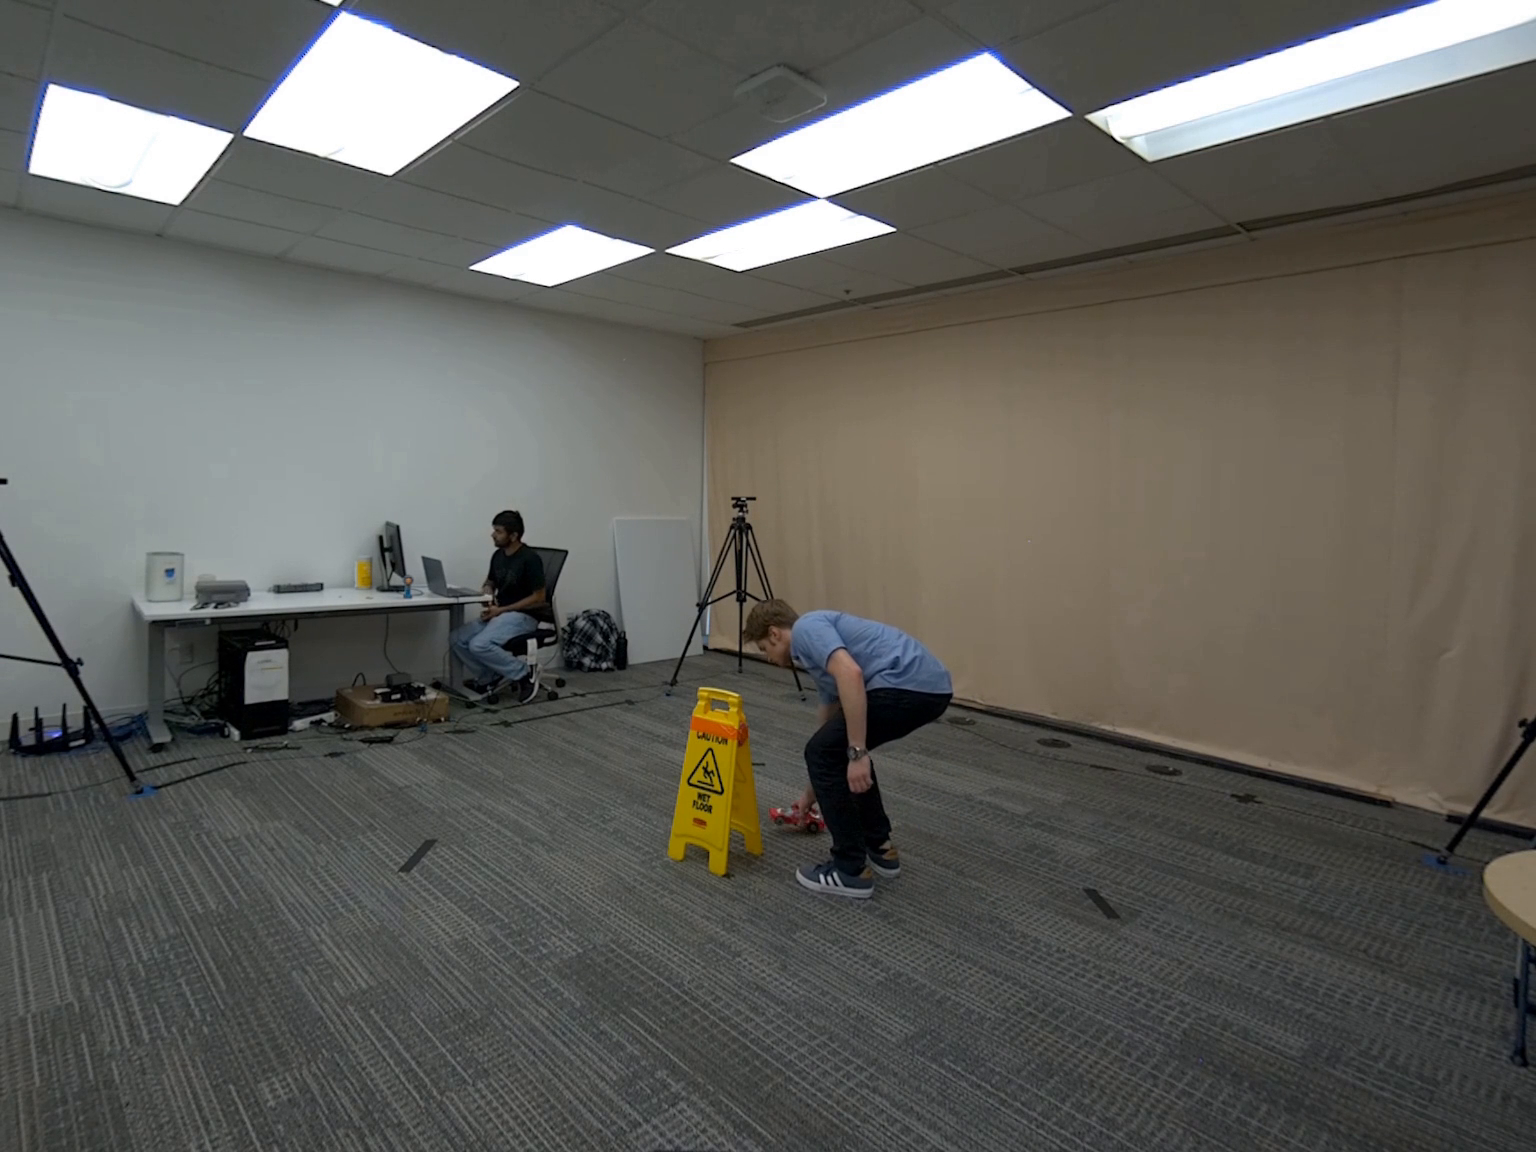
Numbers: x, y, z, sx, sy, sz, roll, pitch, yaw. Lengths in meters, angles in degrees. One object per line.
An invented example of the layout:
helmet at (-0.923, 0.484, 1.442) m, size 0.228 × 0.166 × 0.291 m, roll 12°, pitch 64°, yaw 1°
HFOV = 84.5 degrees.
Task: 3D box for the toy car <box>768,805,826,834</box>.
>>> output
toy car at (0.134, 1.018, 3.534) m, size 0.252 × 0.083 × 0.131 m, roll 4°, pitch -1°, yaw -10°
